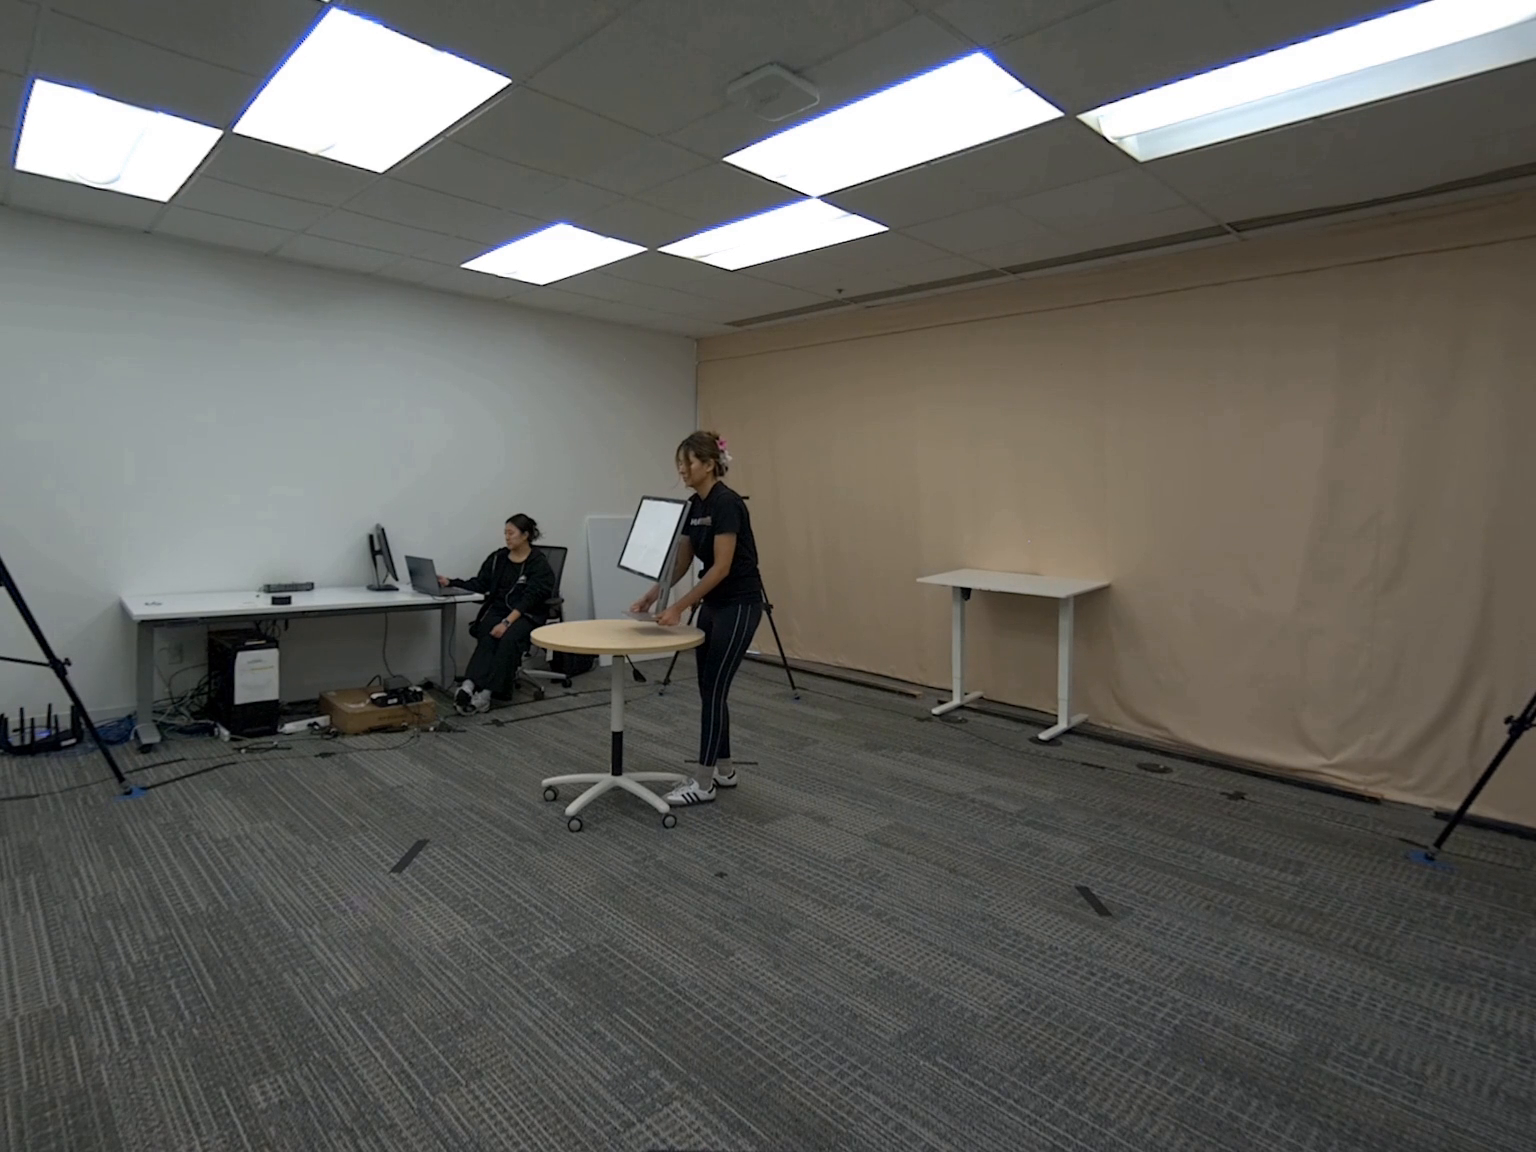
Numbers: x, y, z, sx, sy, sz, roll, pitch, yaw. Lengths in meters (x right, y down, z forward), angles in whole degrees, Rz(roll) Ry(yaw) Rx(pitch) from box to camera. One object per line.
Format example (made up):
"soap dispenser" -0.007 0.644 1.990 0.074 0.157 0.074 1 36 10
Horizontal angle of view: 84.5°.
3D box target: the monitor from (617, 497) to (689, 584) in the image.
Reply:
"monitor" -0.506 -0.084 3.772 0.183 0.522 0.552 7 3 -29
